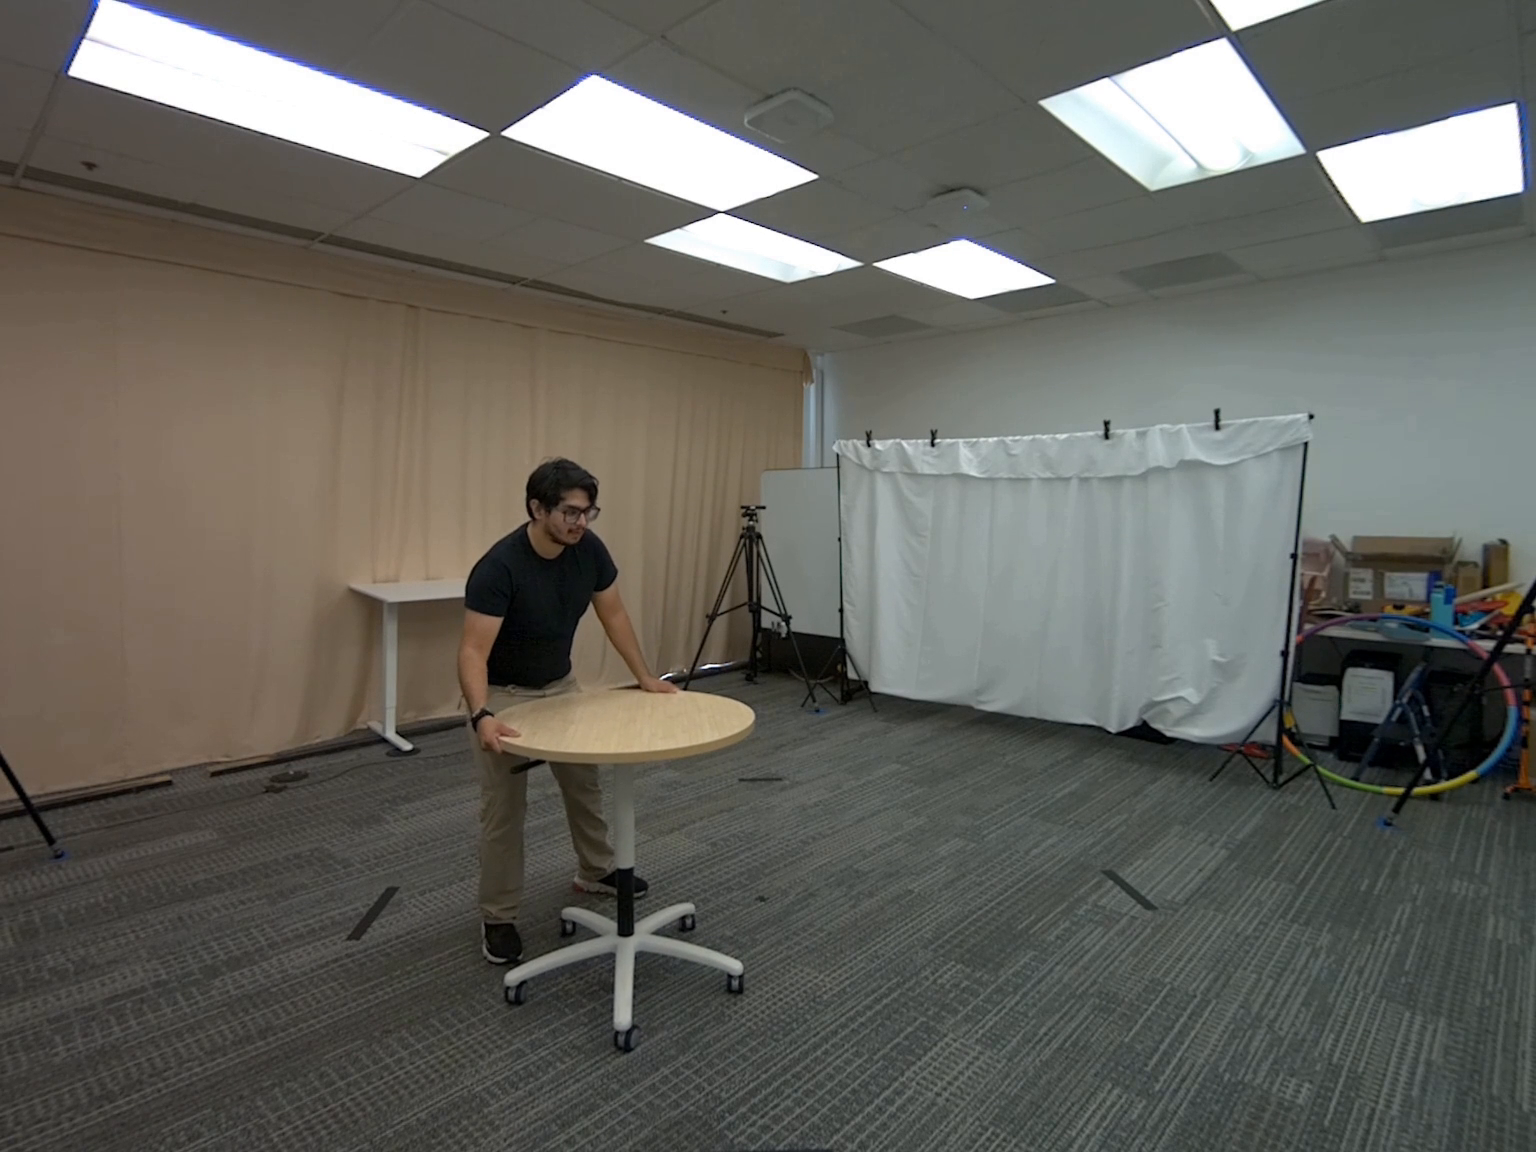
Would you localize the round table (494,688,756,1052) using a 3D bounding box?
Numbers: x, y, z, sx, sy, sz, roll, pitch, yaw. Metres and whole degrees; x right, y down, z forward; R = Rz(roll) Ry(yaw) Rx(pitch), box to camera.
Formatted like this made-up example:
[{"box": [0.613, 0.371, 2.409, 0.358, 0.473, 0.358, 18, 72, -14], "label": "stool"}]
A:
[{"box": [-0.401, 0.796, 2.457, 0.784, 0.785, 0.787, -1, 3, -2], "label": "round table"}]
